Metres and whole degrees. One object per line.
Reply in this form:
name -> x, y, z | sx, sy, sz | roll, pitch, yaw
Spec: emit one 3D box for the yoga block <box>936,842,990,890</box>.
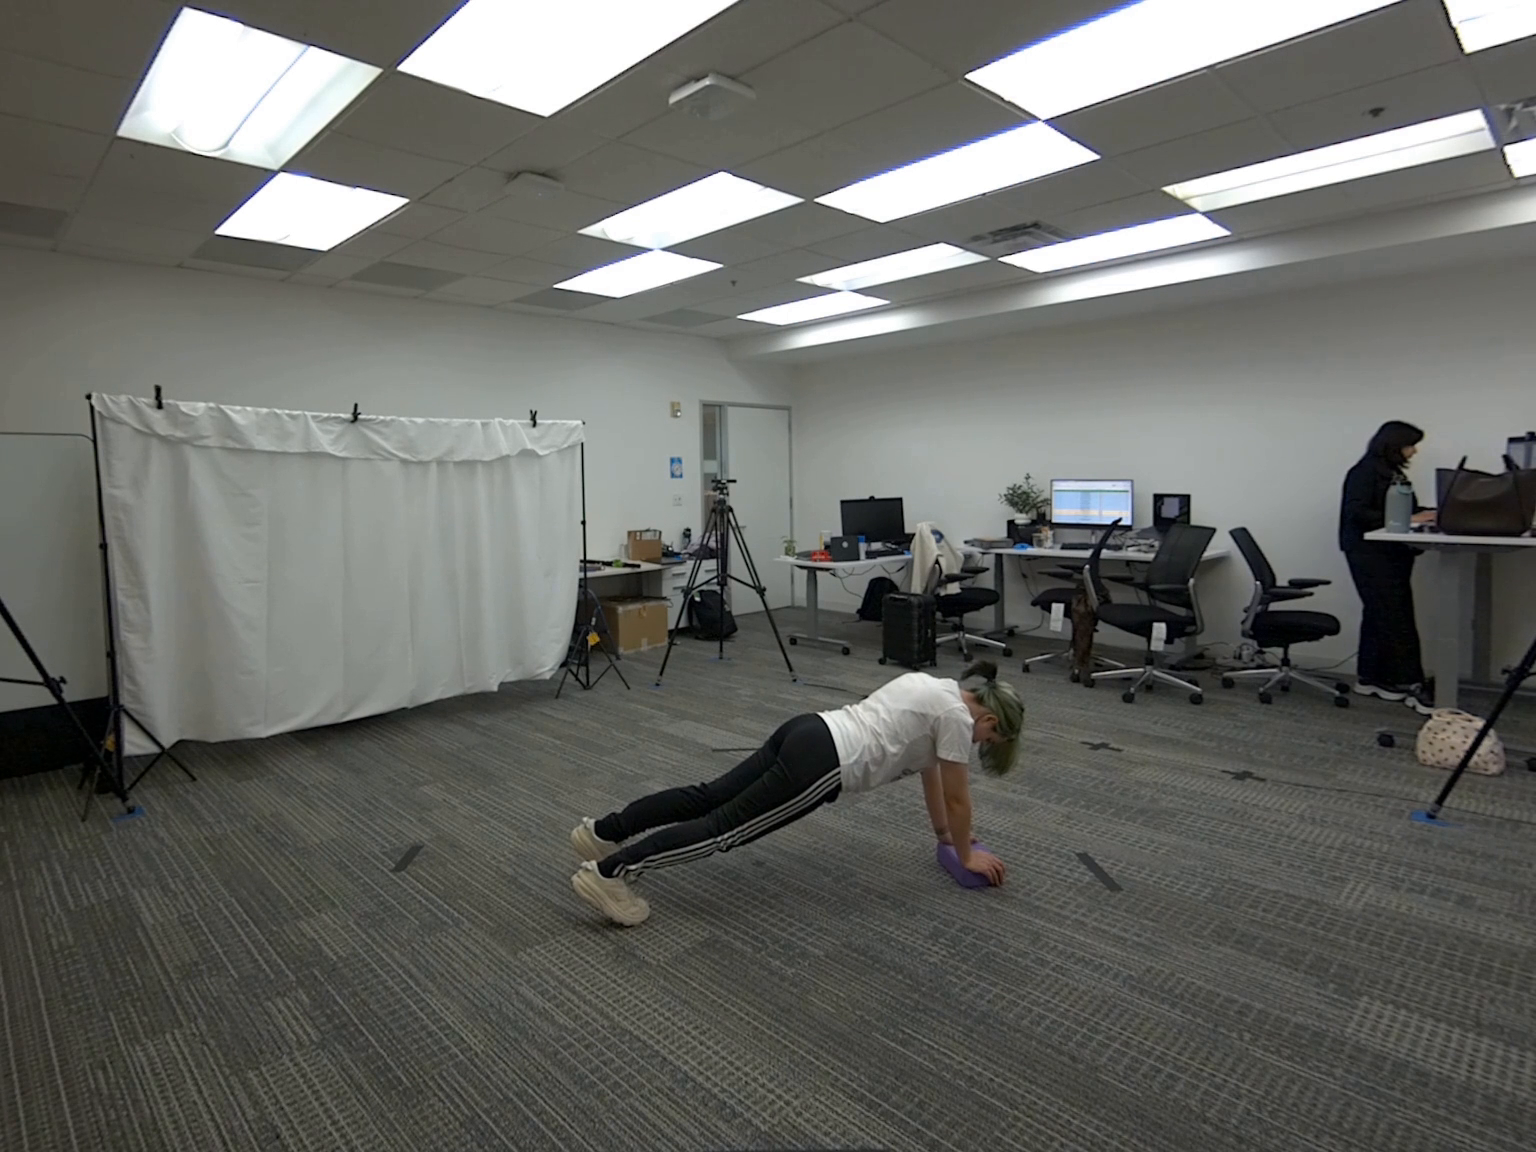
yoga block -> 0.706, 1.006, 3.007 | 0.148, 0.076, 0.232 | -1, 5, -10
